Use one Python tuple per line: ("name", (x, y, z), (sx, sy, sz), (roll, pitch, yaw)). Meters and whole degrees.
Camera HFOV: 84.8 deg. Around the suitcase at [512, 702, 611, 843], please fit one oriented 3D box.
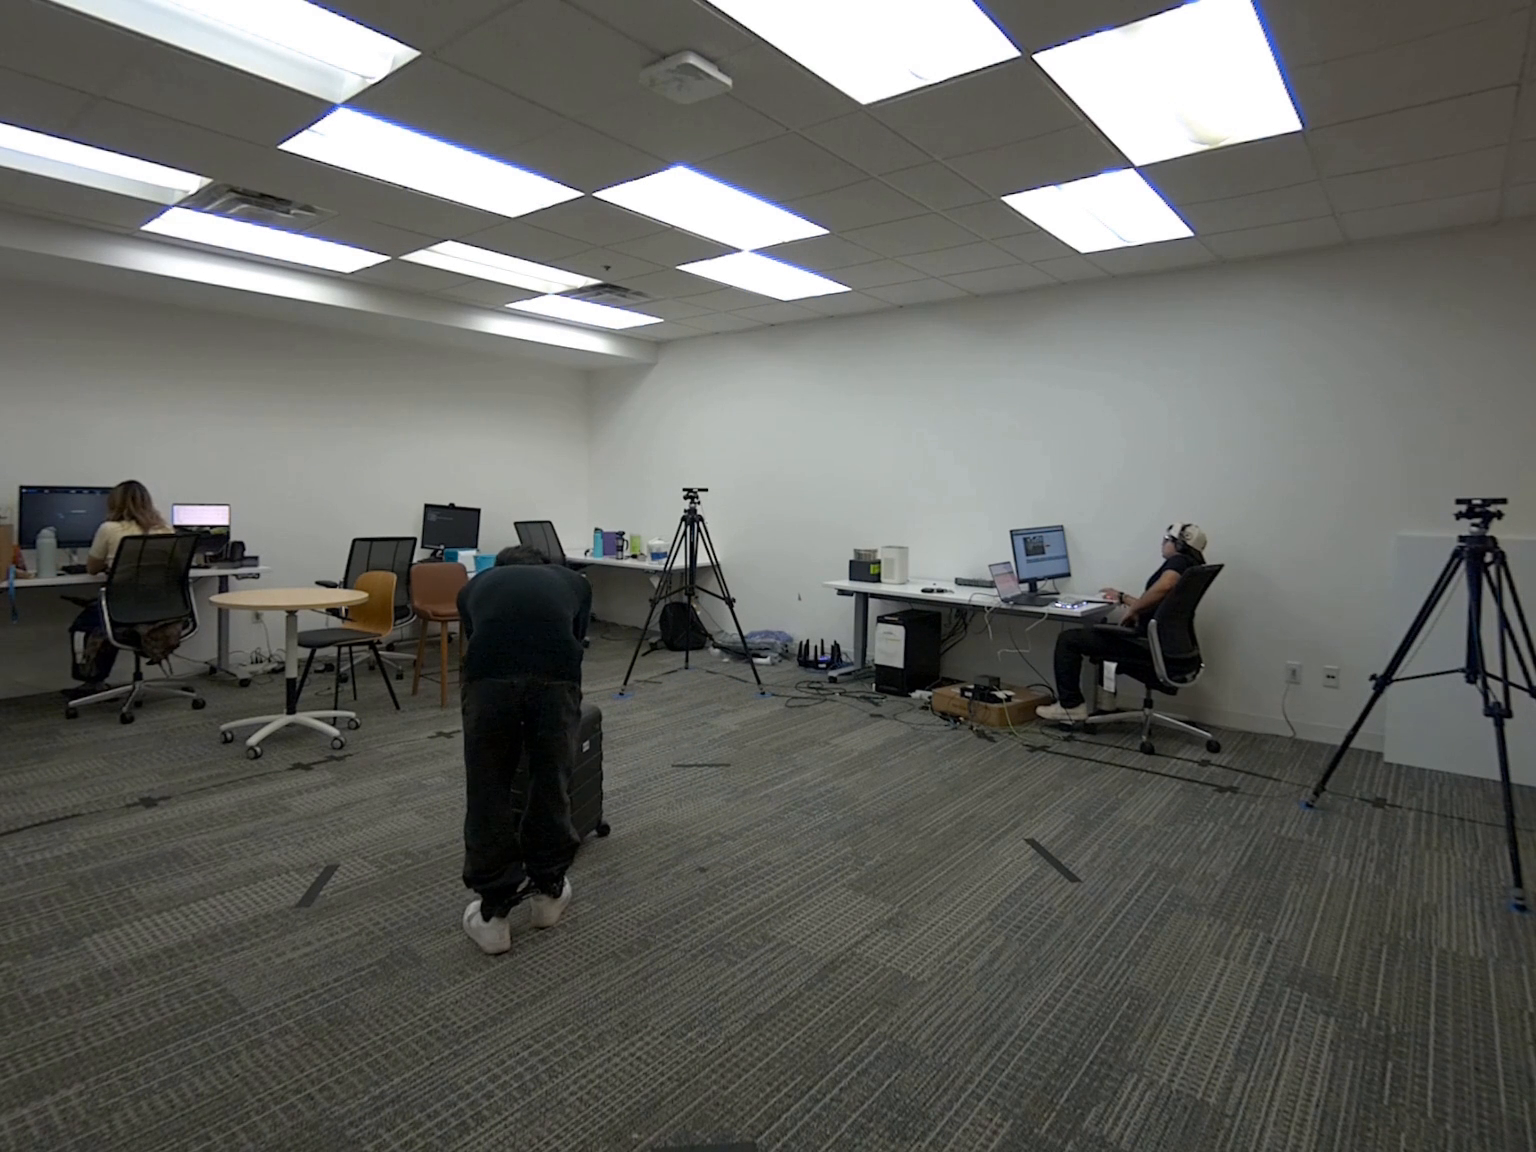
("suitcase", (-0.820, 0.772, 3.273), (0.252, 0.547, 0.371), (3, 4, 13))
